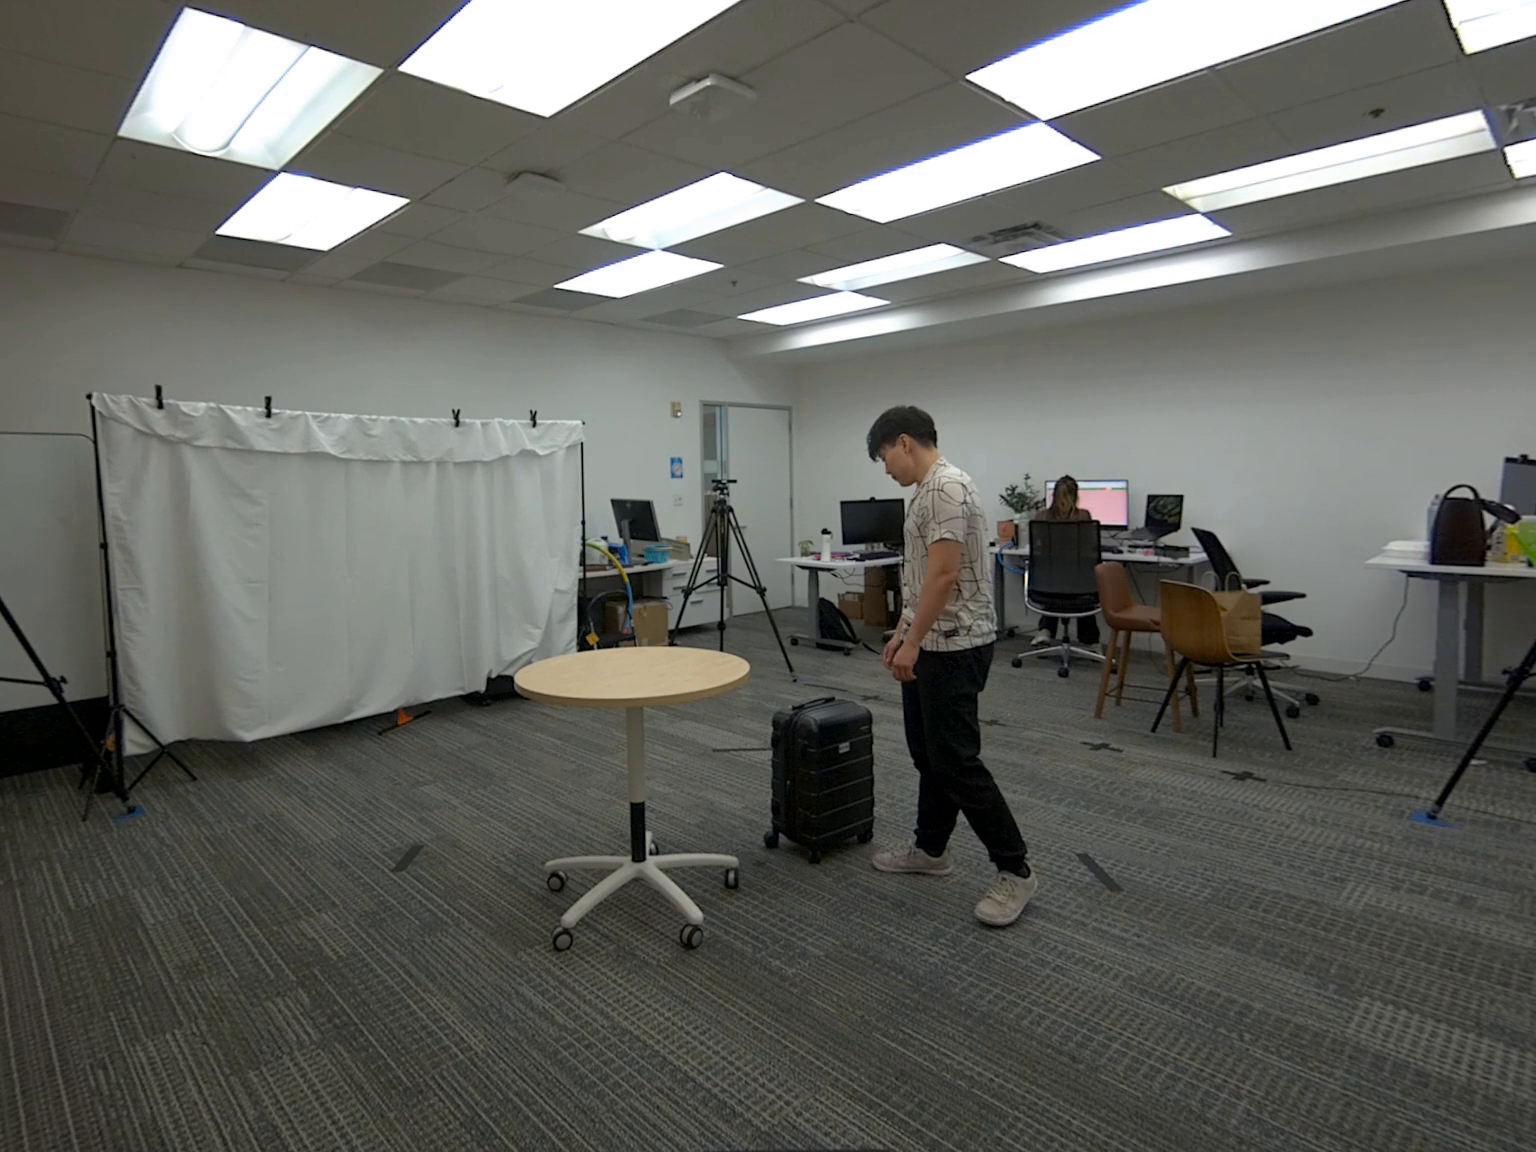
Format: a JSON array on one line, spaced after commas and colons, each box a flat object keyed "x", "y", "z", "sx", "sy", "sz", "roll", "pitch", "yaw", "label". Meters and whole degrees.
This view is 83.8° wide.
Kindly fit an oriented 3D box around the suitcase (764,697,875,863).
[{"x": 0.212, "y": 0.750, "z": 3.253, "sx": 0.365, "sy": 0.547, "sz": 0.256, "roll": -3, "pitch": 6, "yaw": -39, "label": "suitcase"}]
